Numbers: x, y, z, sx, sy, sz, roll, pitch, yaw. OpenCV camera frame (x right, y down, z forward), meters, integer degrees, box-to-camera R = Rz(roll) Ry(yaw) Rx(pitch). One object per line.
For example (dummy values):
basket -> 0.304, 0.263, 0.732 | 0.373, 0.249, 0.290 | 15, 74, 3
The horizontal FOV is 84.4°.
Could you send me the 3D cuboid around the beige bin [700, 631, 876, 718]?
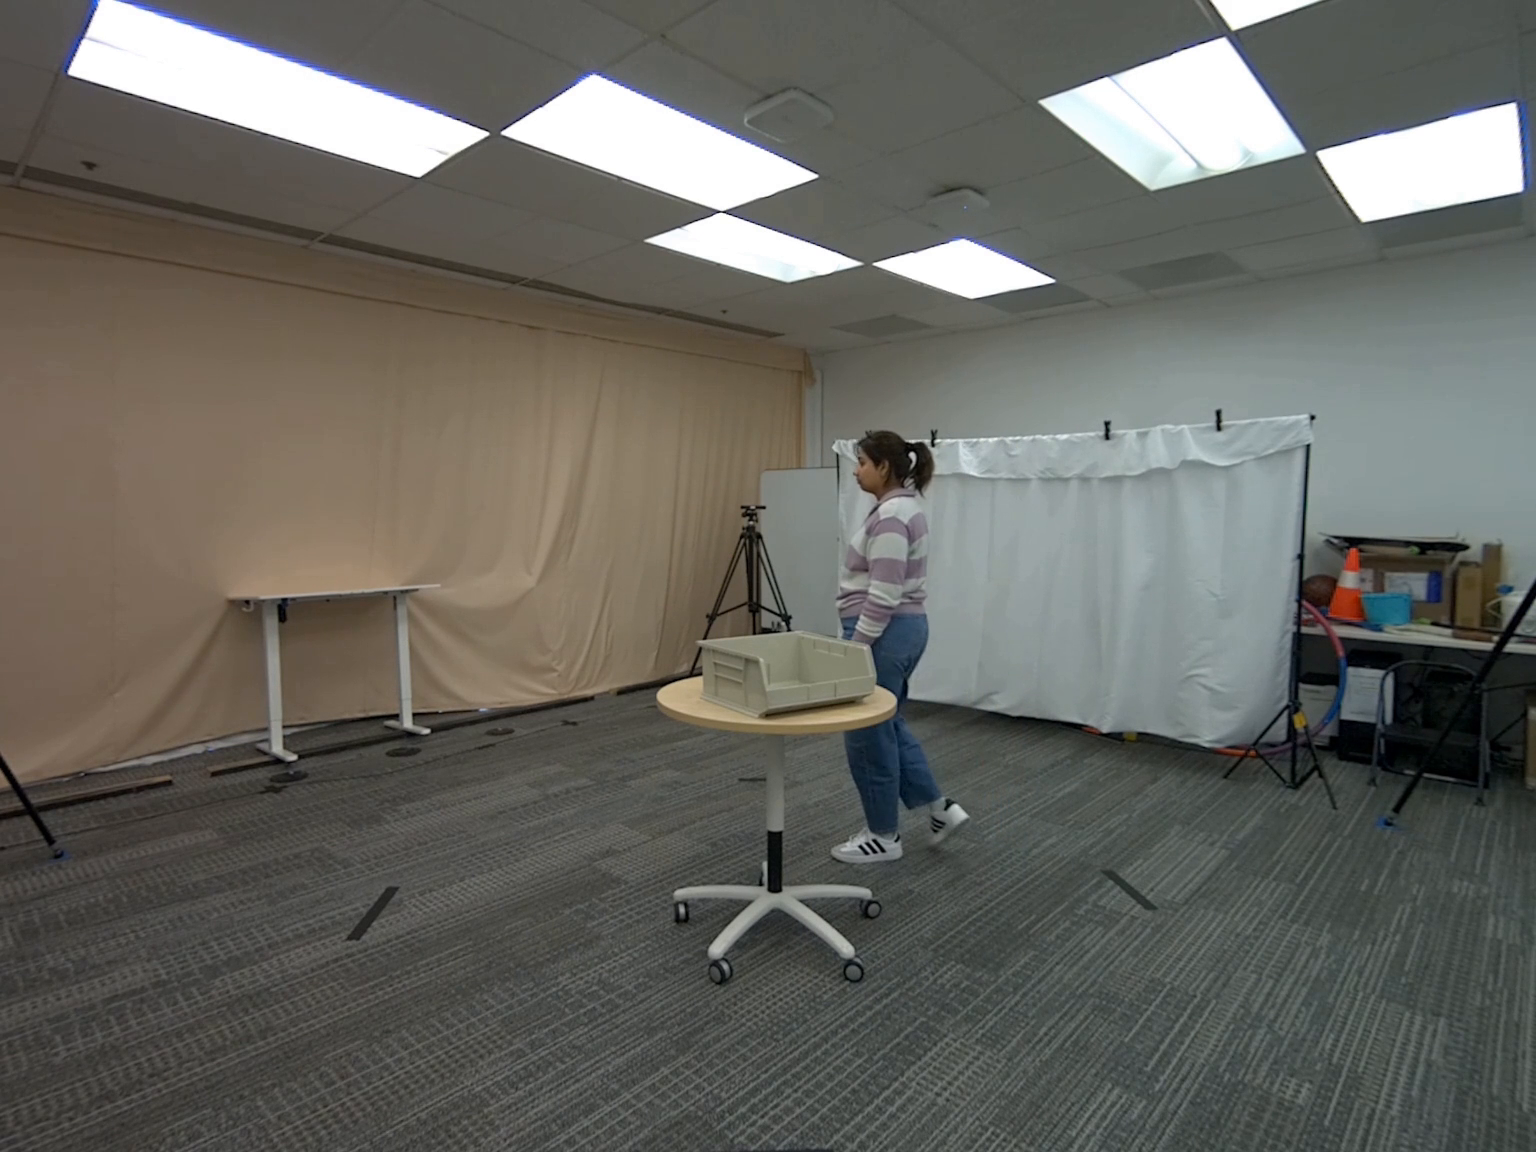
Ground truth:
beige bin -> 0.057, 0.304, 2.614 | 0.410, 0.189, 0.389 | -3, 4, -34
